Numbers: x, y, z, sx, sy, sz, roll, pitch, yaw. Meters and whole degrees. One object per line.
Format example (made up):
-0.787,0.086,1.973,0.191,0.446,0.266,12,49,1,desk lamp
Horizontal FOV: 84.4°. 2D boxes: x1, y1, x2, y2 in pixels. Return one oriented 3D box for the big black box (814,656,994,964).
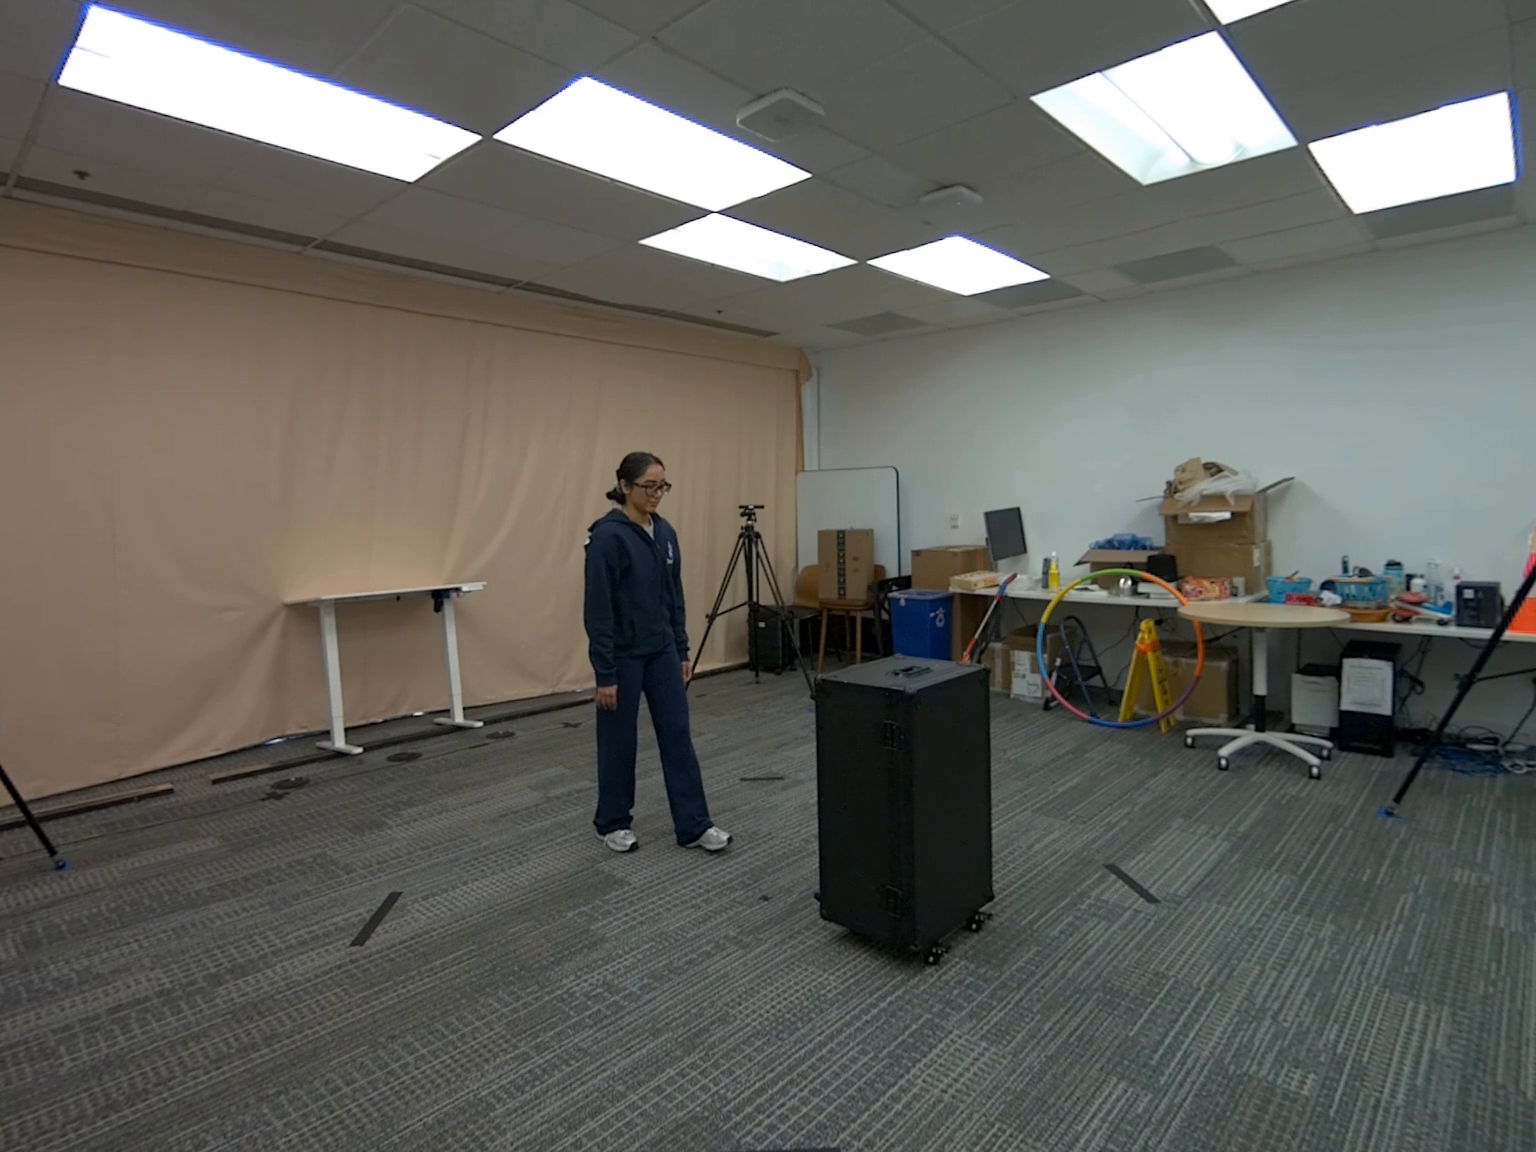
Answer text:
0.443,0.733,2.724,0.409,0.860,0.505,0,3,43,big black box
